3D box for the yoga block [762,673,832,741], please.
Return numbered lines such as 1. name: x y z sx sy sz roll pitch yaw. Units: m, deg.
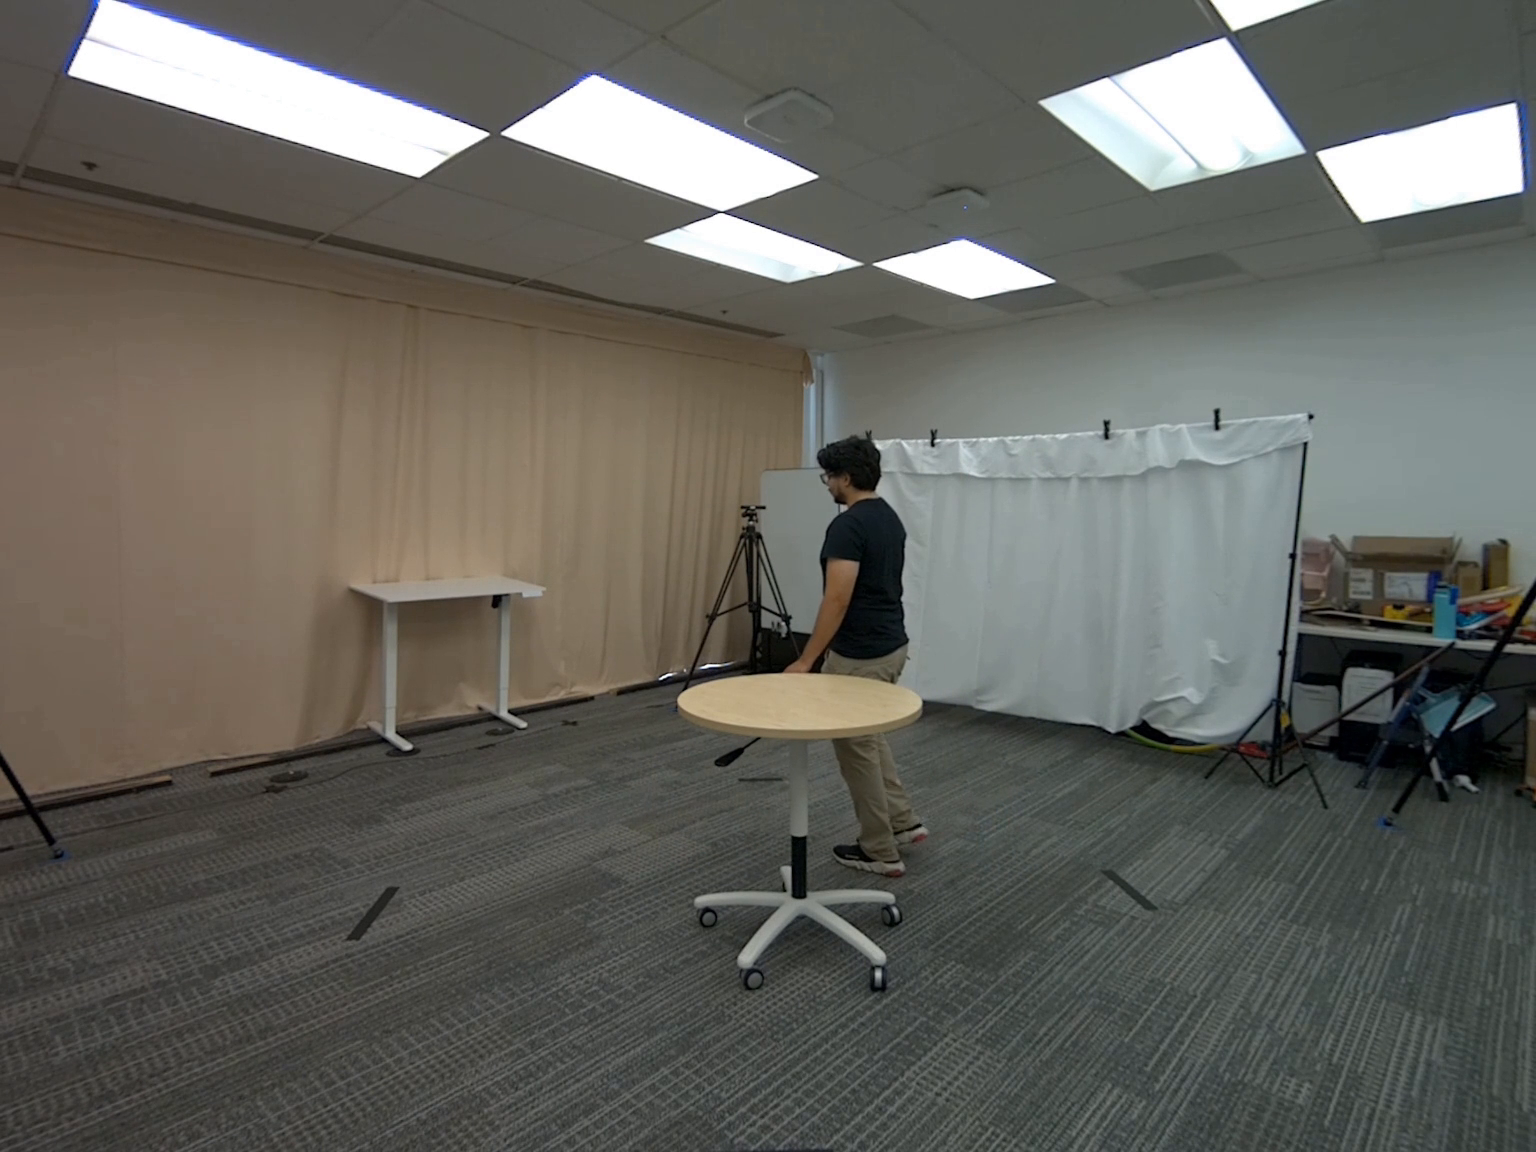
1. yoga block: 0.105 0.486 3.175 0.150 0.230 0.075 41 39 7
